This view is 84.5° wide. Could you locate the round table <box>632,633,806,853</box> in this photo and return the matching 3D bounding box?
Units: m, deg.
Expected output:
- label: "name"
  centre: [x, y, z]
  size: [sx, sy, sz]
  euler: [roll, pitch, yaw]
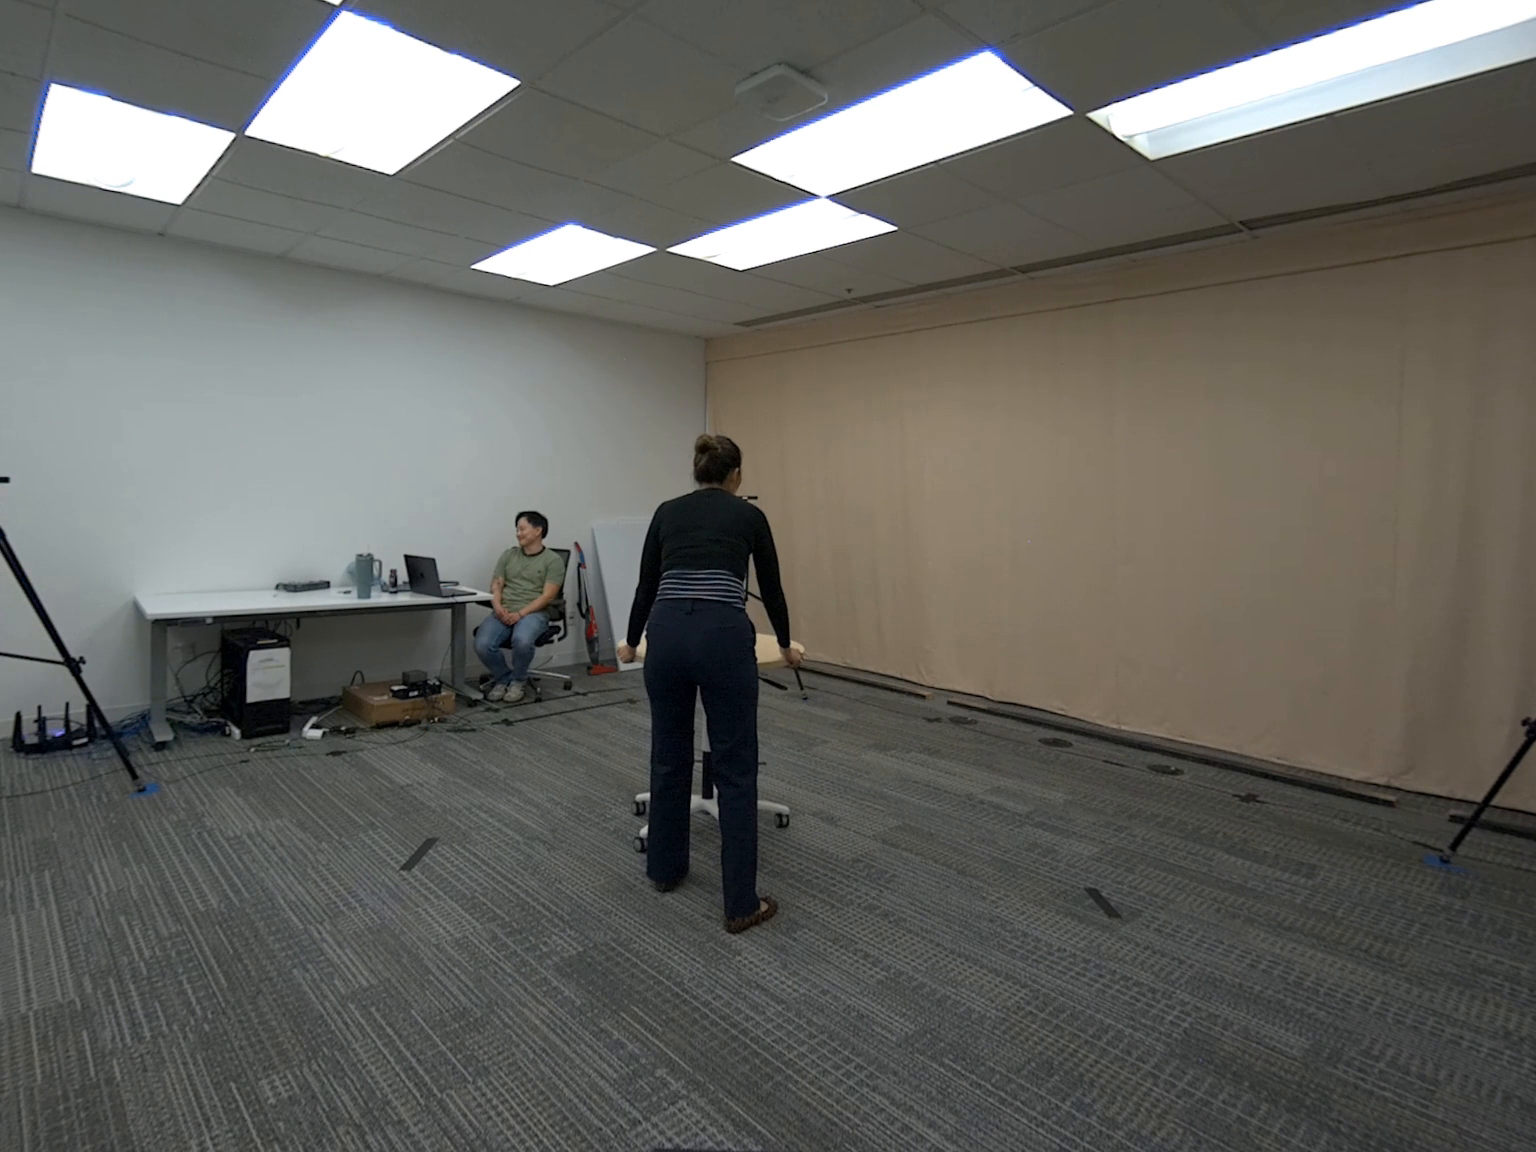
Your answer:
- label: "round table"
  centre: [-0.250, 0.681, 3.489]
  size: [0.763, 0.792, 0.767]
  euler: [2, 4, -1]
